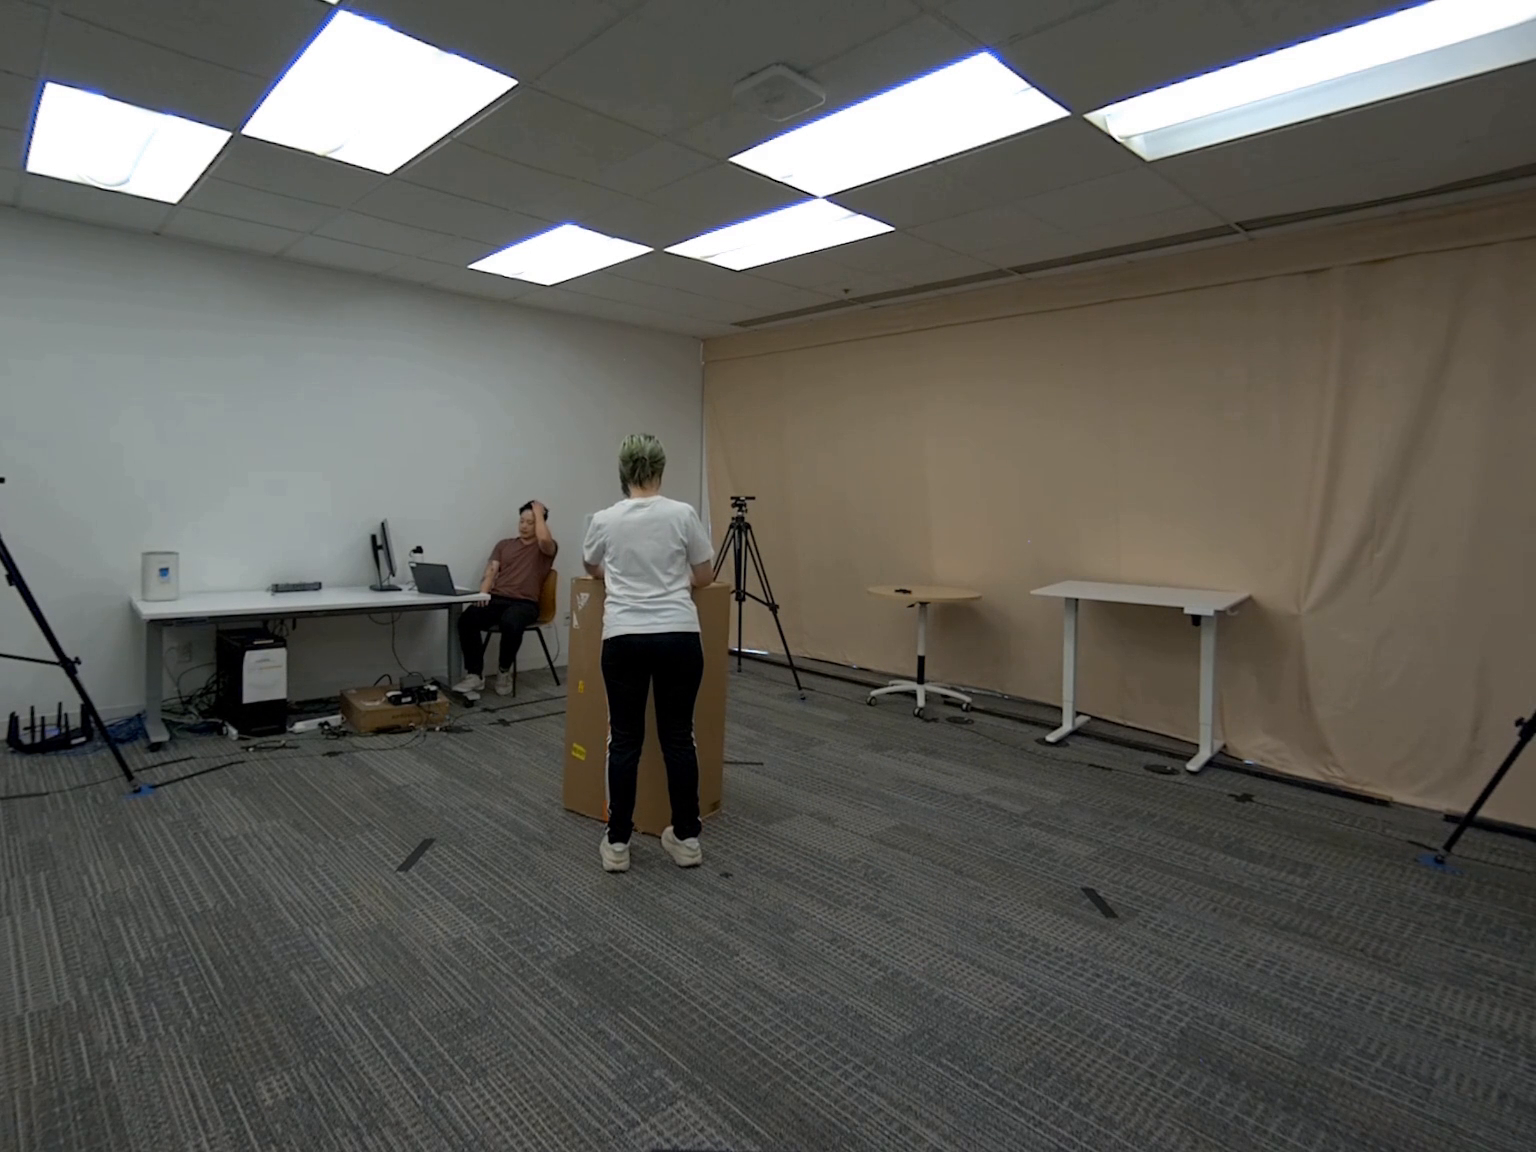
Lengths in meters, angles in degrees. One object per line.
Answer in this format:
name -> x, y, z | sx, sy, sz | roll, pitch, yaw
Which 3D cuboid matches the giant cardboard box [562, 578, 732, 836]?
giant cardboard box -> -0.546, 0.534, 3.730 | 0.597, 1.026, 0.437 | 4, 2, 30
